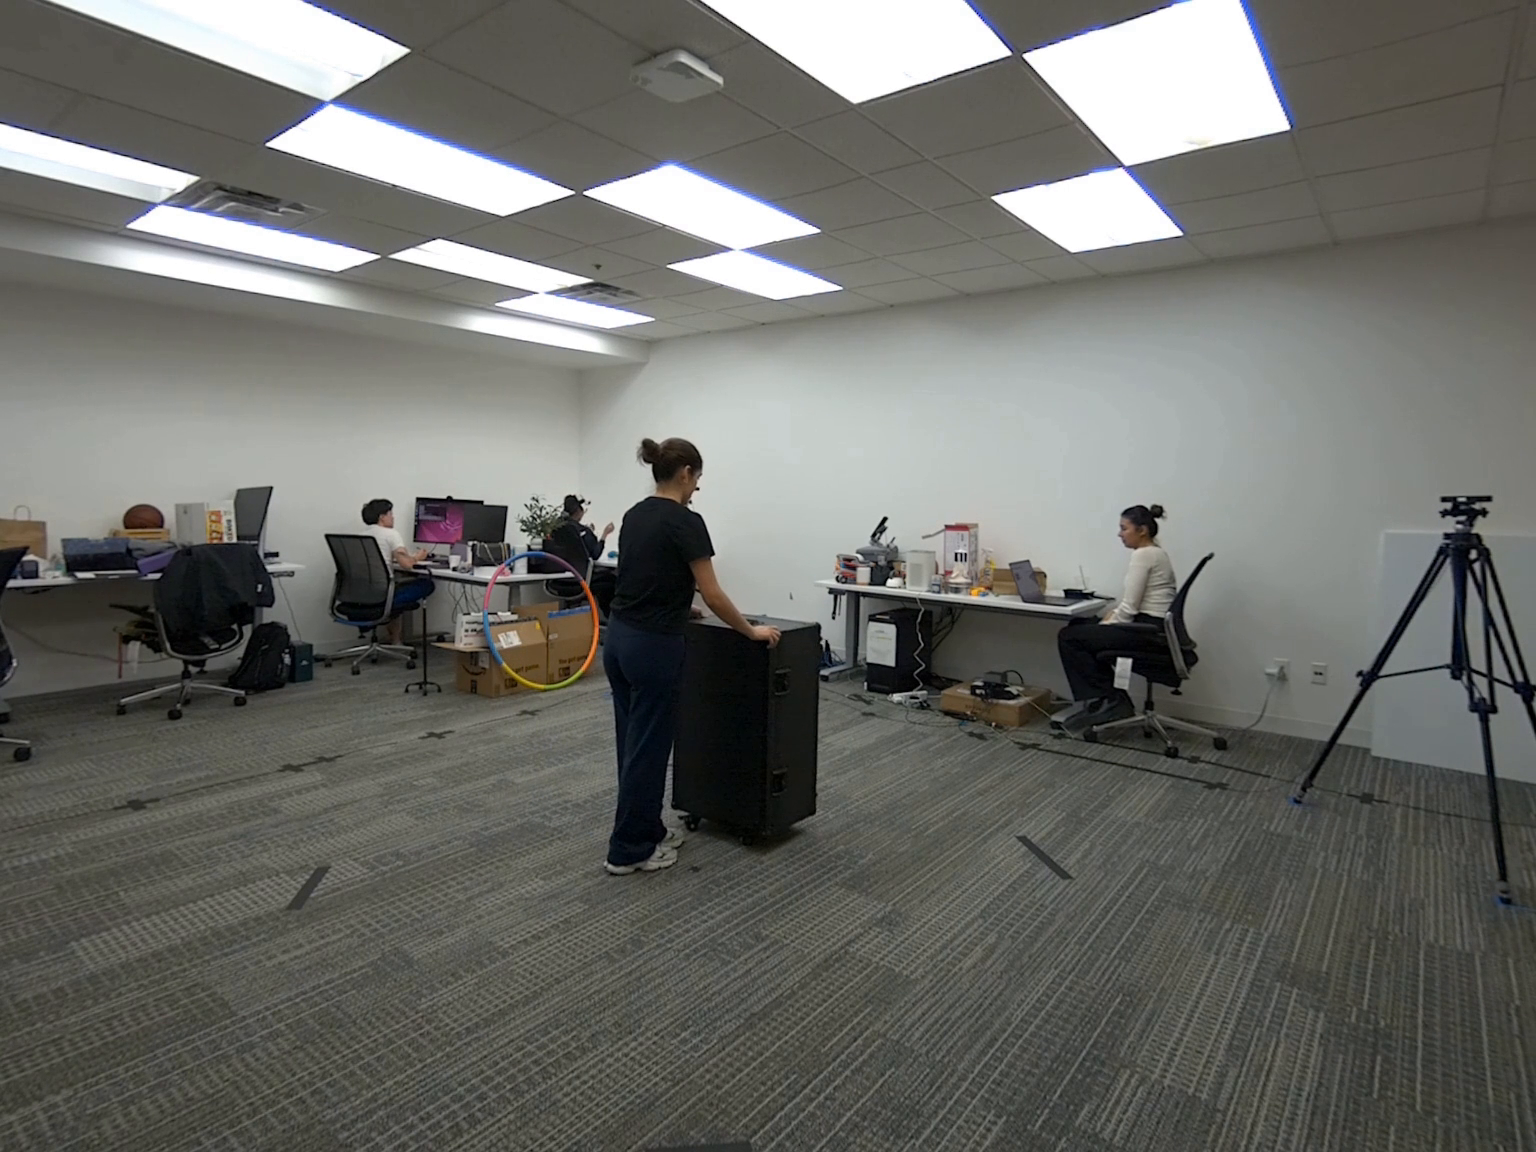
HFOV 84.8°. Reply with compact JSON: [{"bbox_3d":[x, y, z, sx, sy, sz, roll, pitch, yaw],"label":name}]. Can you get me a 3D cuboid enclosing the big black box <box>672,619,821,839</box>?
[{"bbox_3d":[-0.074,0.602,3.489,0.538,0.860,0.384,4,3,39],"label":"big black box"}]
